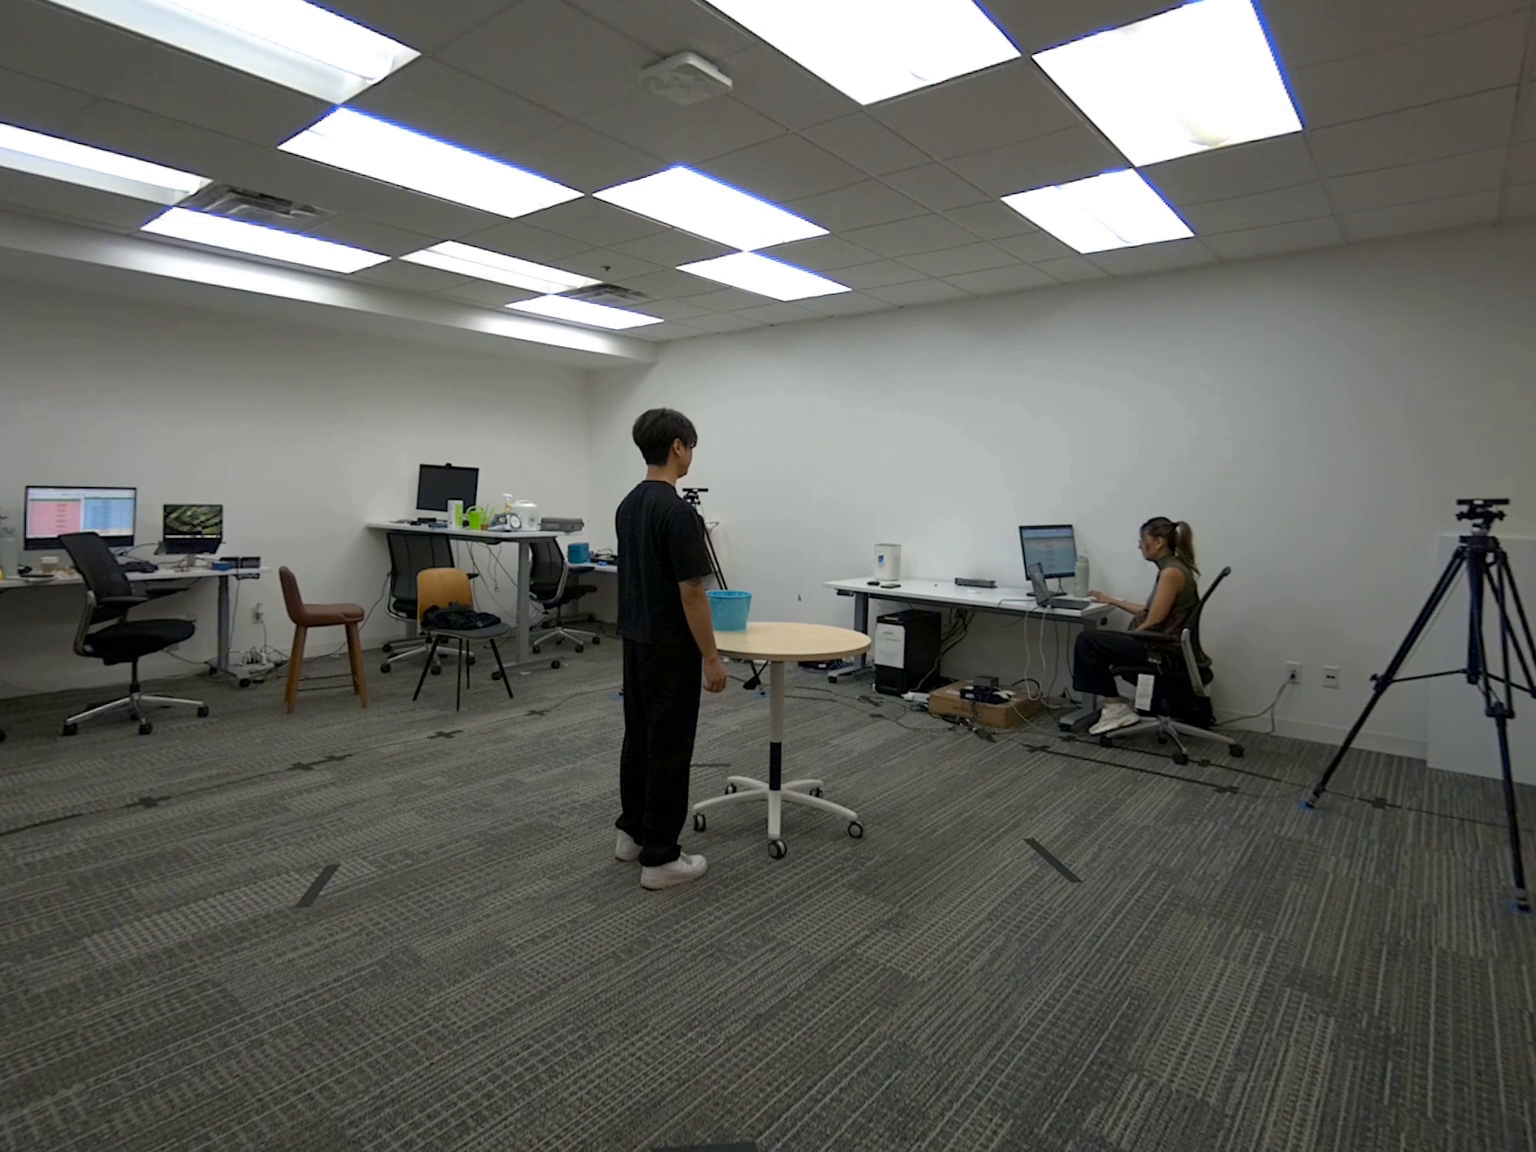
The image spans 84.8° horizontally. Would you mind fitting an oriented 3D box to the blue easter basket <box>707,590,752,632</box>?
[{"bbox_3d":[-0.192,0.151,3.768,0.243,0.155,0.245,1,5,-2],"label":"blue easter basket"}]
